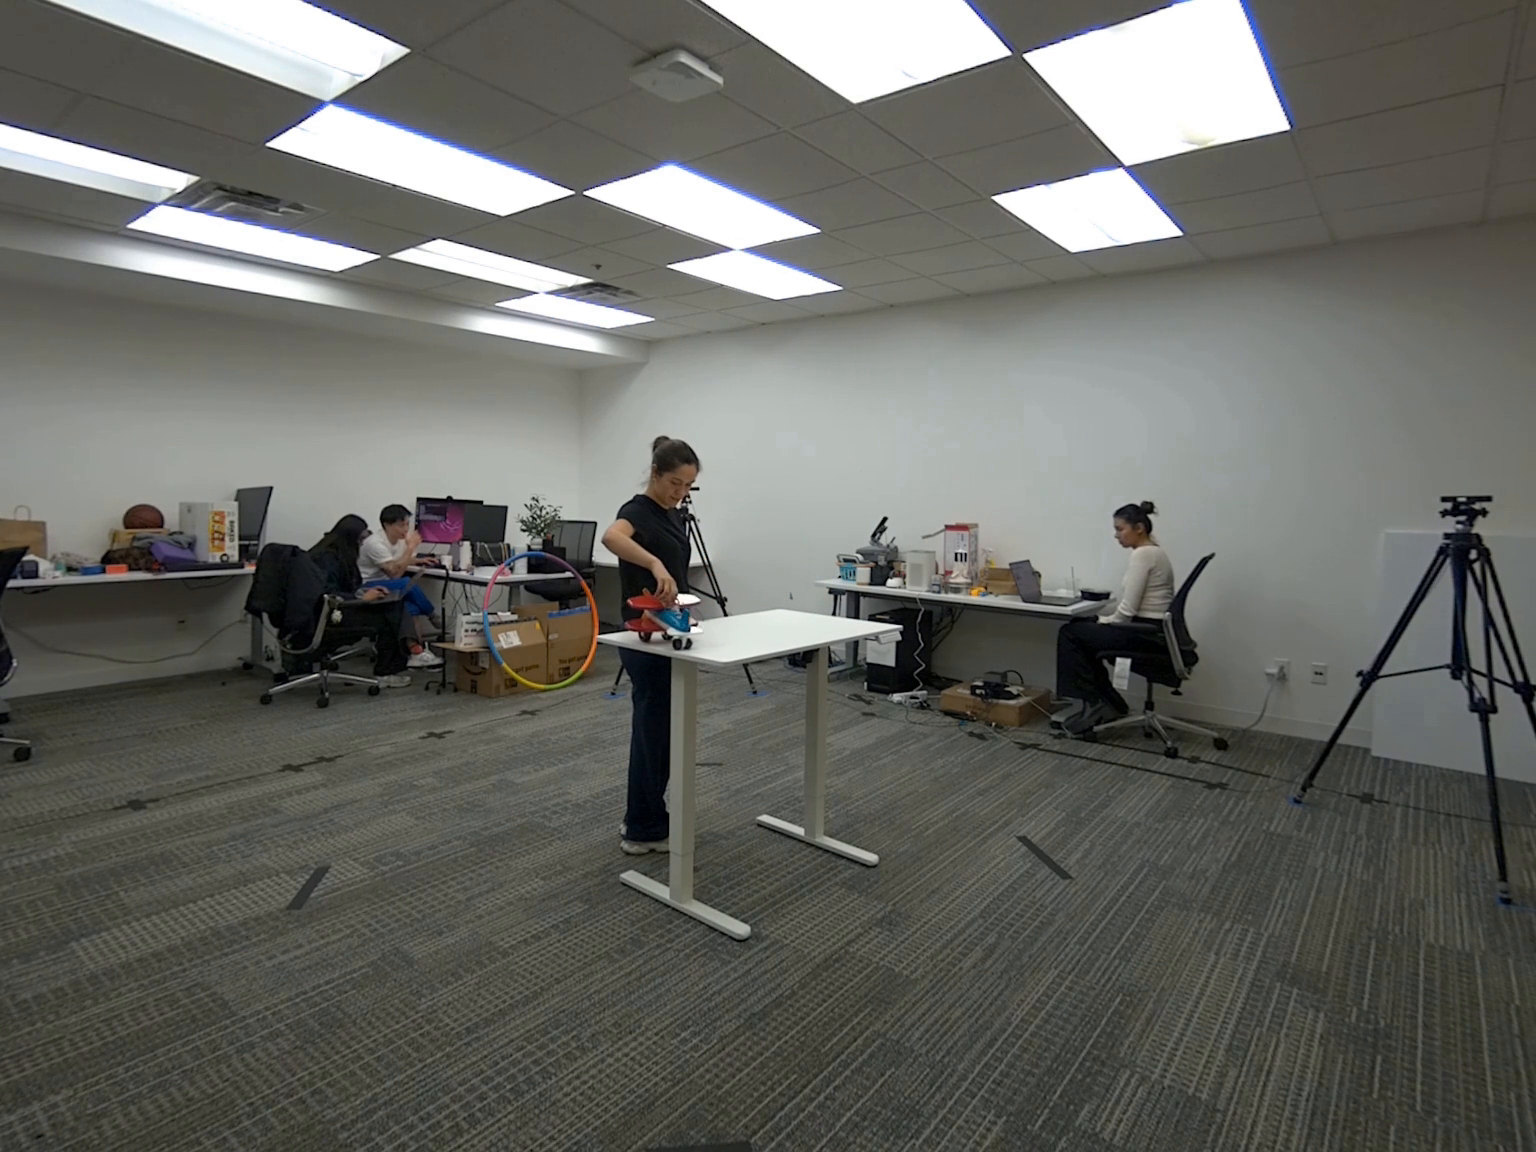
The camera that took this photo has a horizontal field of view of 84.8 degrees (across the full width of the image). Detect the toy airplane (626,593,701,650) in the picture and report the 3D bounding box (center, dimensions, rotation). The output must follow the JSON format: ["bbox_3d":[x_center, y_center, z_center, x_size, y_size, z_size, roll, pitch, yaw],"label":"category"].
[{"bbox_3d":[-0.304,0.139,2.774,0.267,0.156,0.245,3,5,29],"label":"toy airplane"}]
